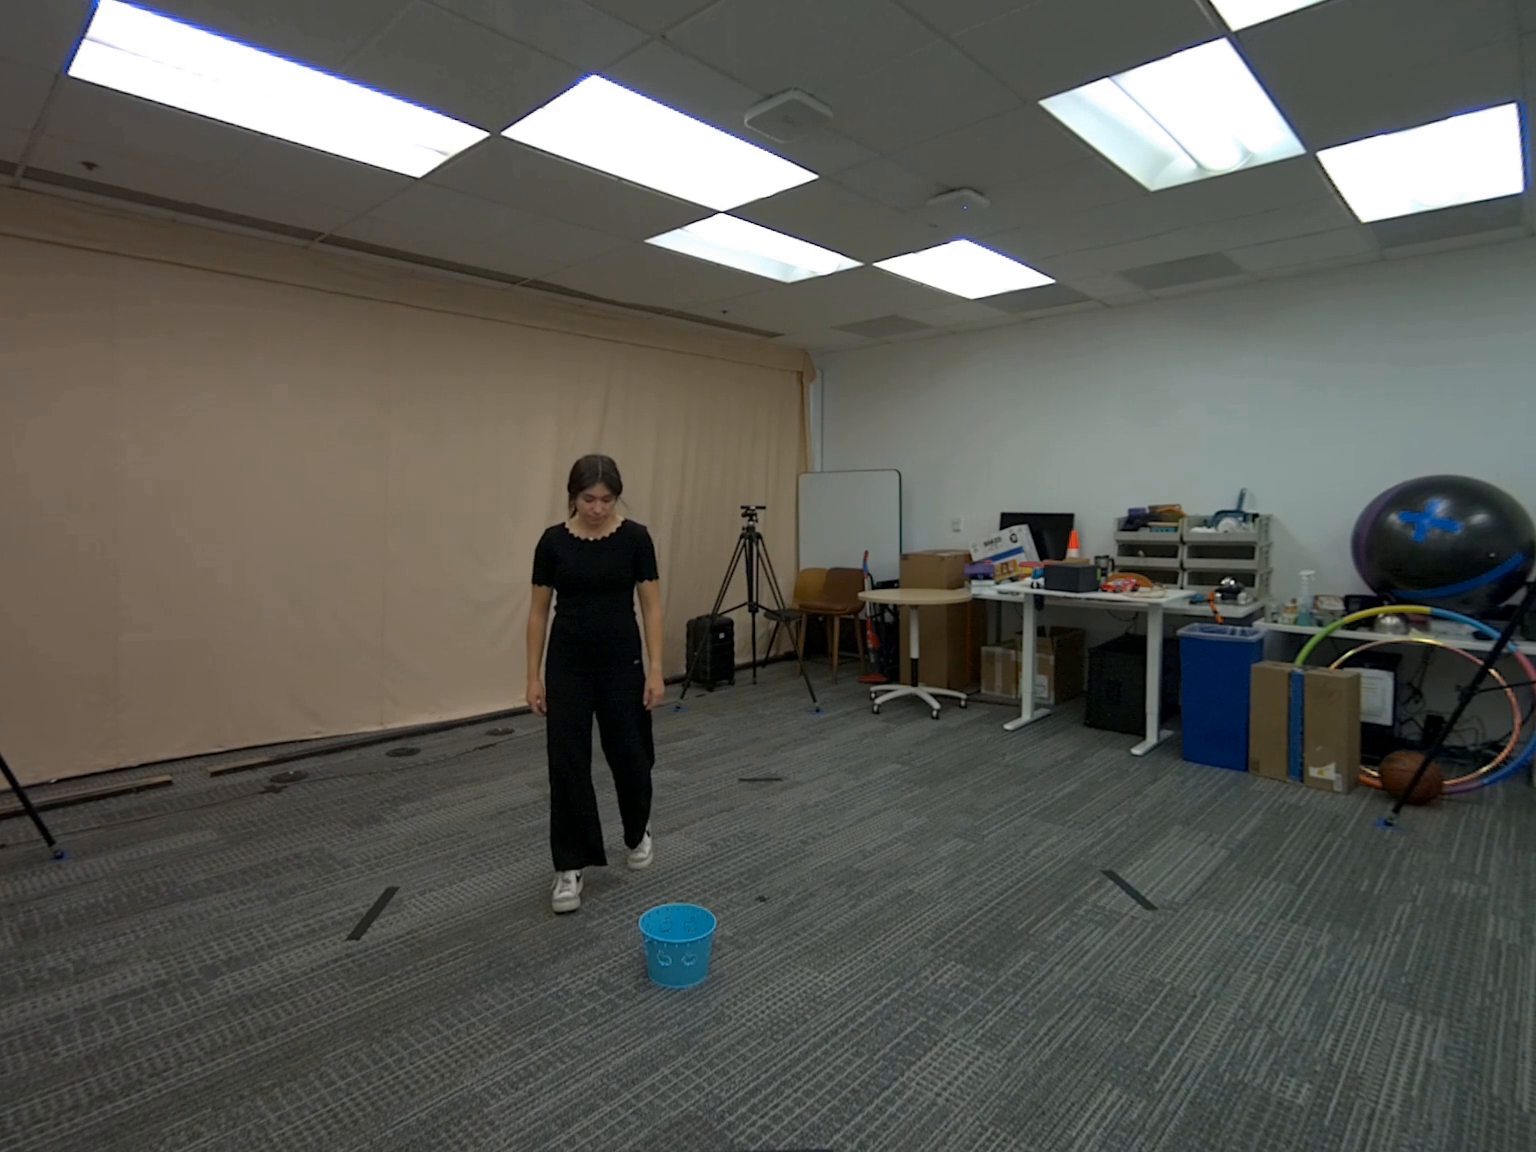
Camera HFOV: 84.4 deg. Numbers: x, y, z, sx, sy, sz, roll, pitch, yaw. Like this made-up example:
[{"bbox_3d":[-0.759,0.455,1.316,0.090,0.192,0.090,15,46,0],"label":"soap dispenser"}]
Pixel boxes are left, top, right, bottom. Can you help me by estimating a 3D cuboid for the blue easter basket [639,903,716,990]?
[{"bbox_3d":[-0.266,1.104,2.522,0.243,0.155,0.244,0,4,-2],"label":"blue easter basket"}]
